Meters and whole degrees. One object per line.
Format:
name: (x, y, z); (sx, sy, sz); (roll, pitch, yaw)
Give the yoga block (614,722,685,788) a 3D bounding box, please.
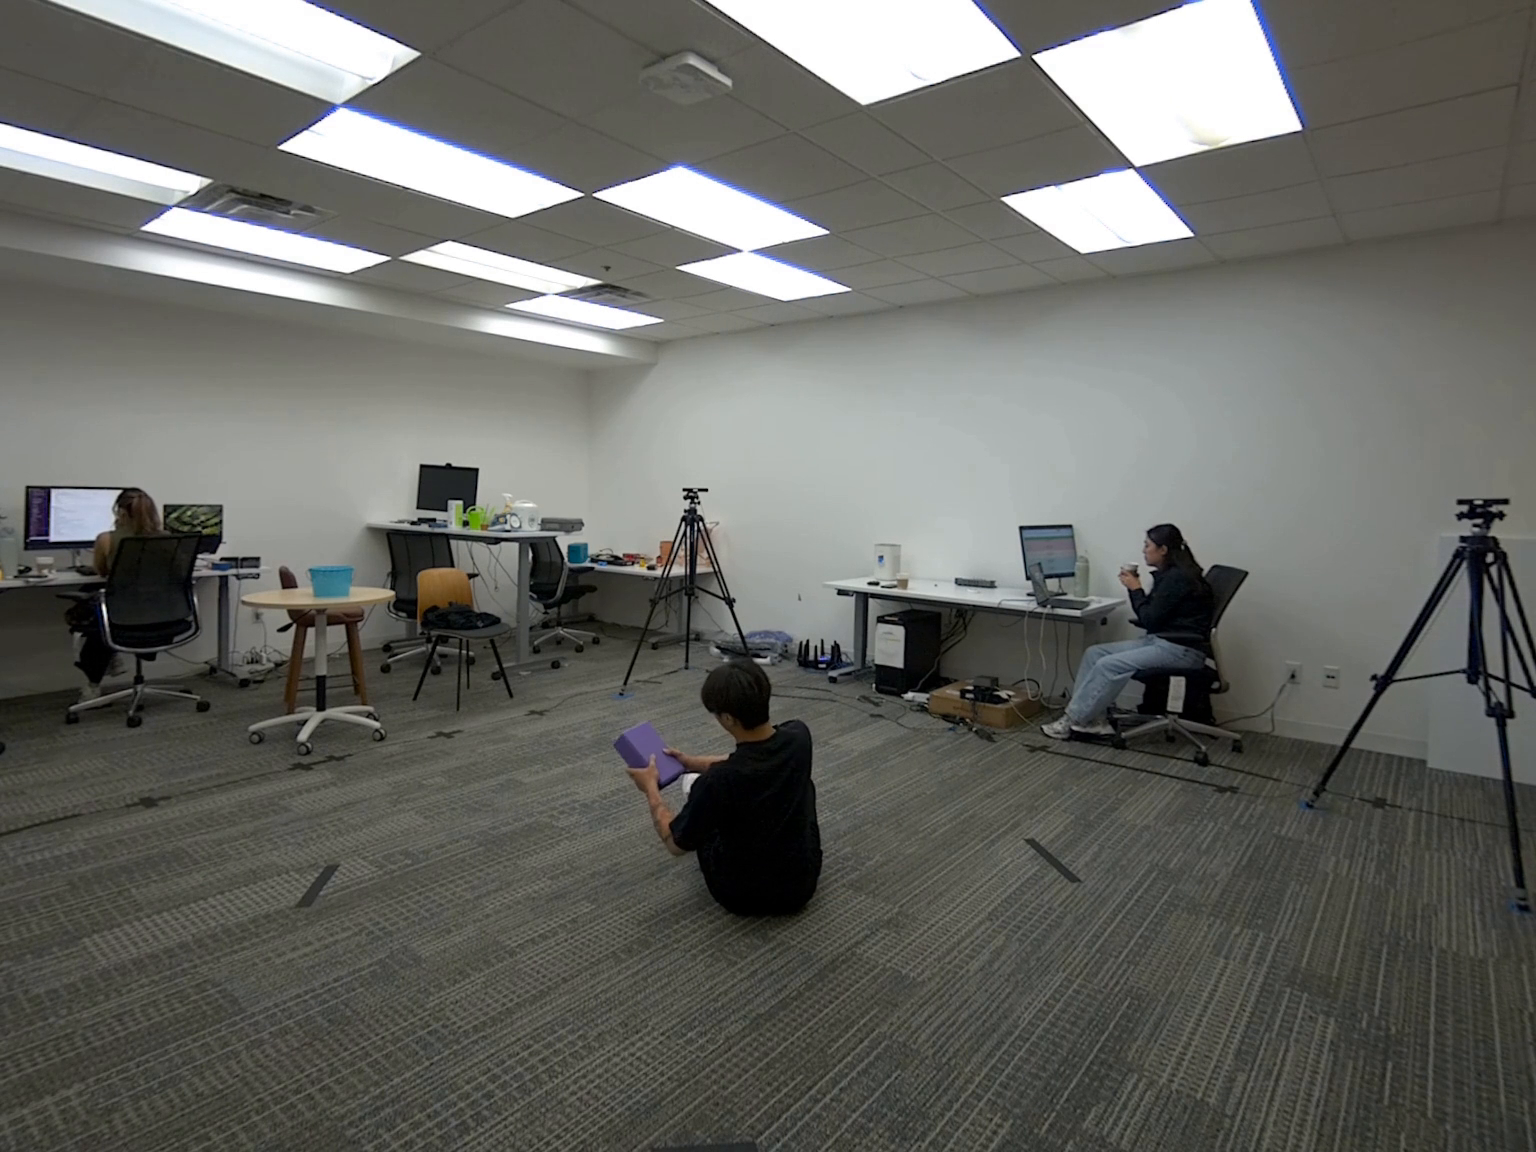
yoga block: (-0.416, 0.632, 2.979); (0.235, 0.076, 0.146); (47, 28, 17)
